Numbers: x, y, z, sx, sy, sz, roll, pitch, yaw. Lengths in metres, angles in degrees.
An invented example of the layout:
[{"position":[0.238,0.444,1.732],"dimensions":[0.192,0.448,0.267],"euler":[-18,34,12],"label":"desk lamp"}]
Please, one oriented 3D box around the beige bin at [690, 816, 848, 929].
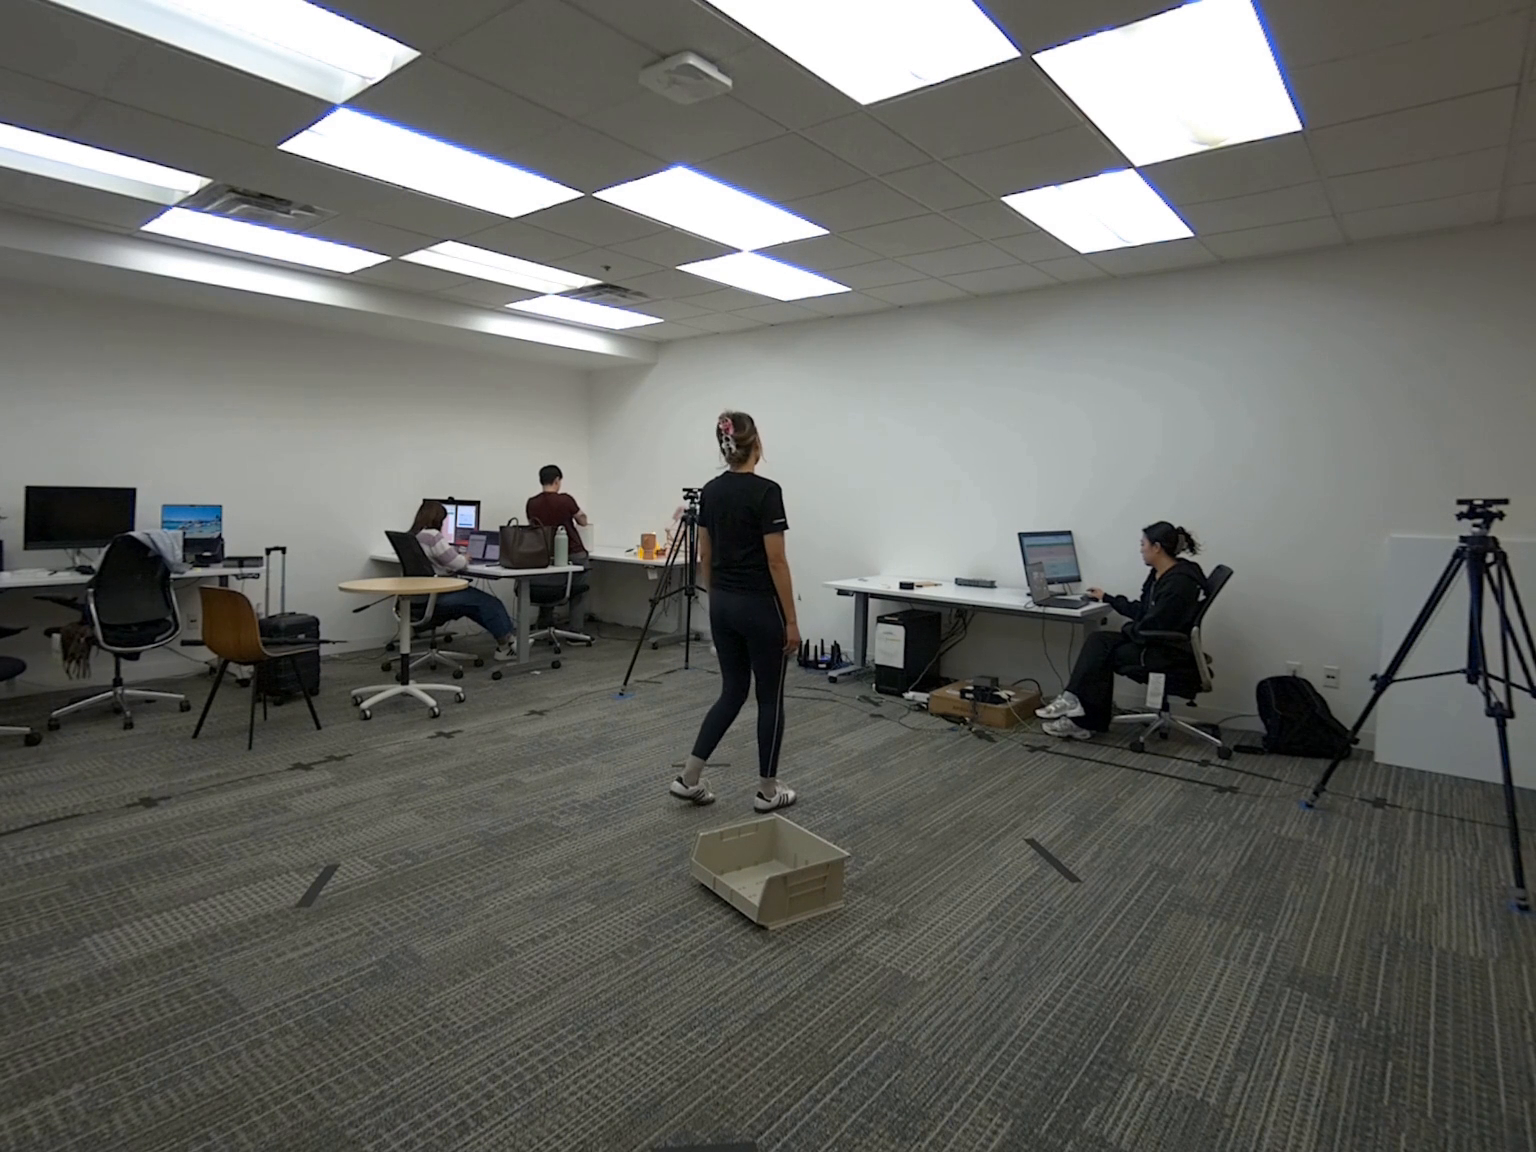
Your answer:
[{"position":[-0.007,1.004,2.921],"dimensions":[0.366,0.188,0.436],"euler":[-1,5,-35],"label":"beige bin"}]
